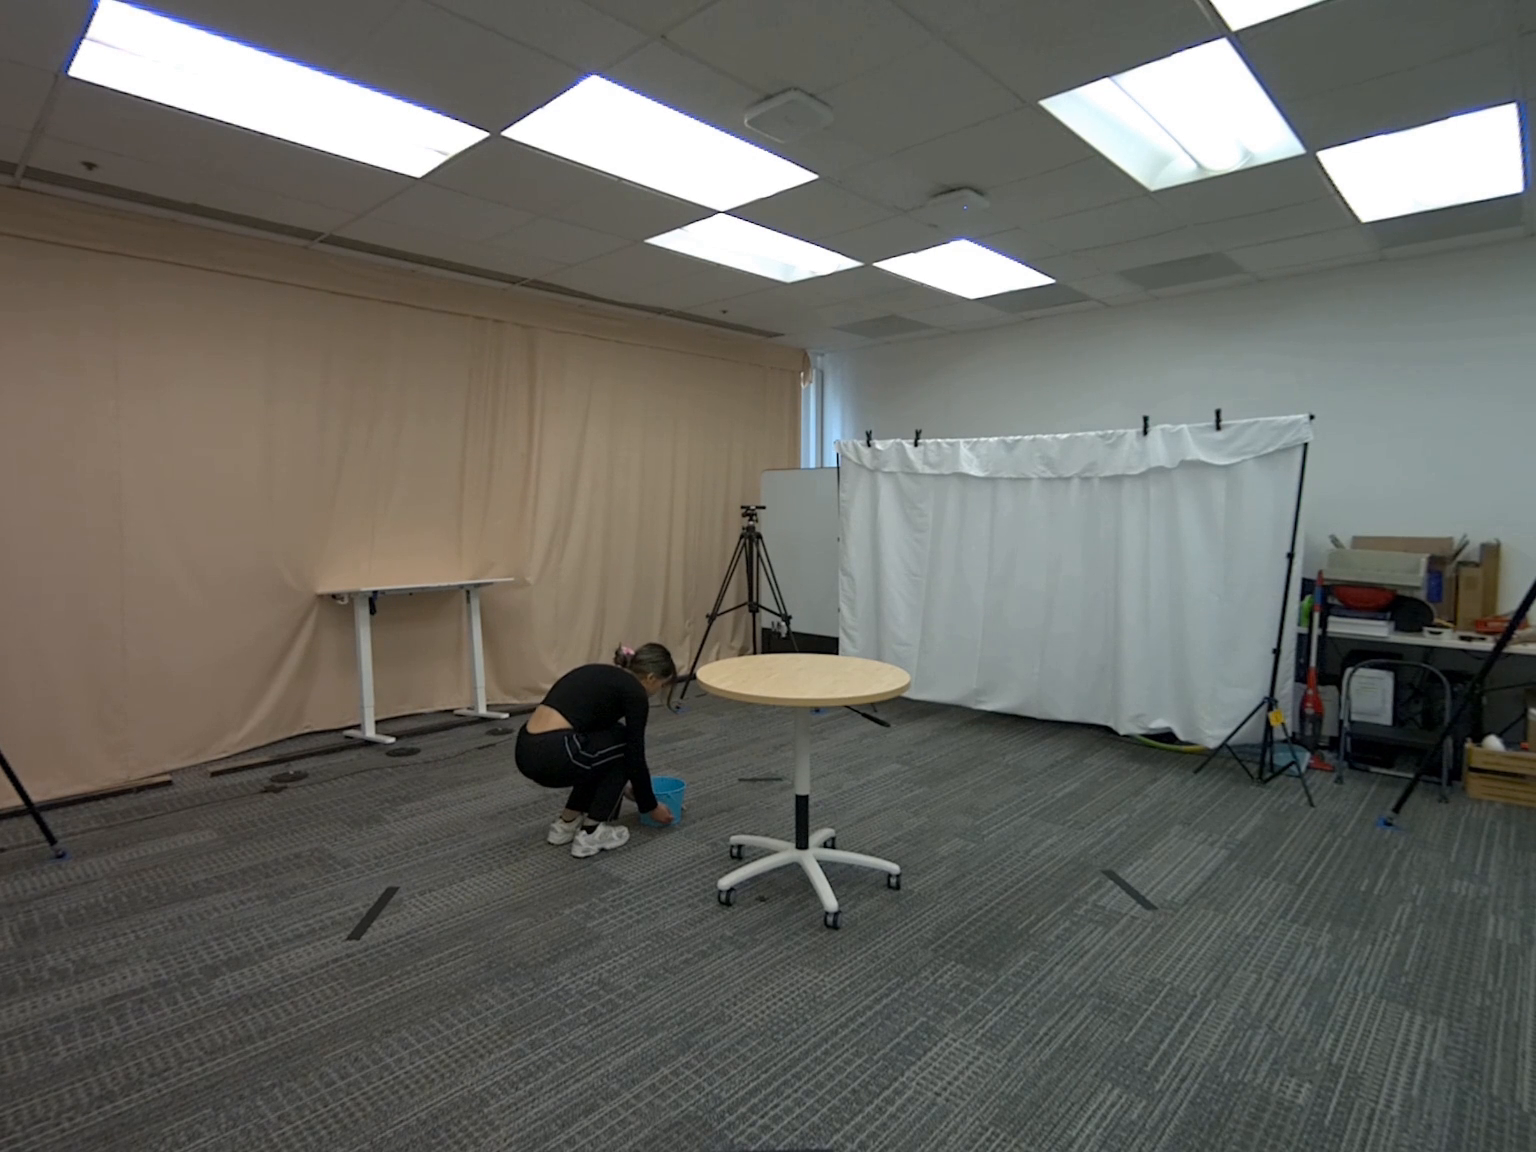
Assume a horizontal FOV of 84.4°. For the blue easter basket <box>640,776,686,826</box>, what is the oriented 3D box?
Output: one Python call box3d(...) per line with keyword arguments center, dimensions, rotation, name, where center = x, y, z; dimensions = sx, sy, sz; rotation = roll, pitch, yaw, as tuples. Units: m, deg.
box3d(center=(-0.477, 1.008, 3.748), dimensions=(0.243, 0.155, 0.244), rotation=(0, 4, -2), name="blue easter basket")
